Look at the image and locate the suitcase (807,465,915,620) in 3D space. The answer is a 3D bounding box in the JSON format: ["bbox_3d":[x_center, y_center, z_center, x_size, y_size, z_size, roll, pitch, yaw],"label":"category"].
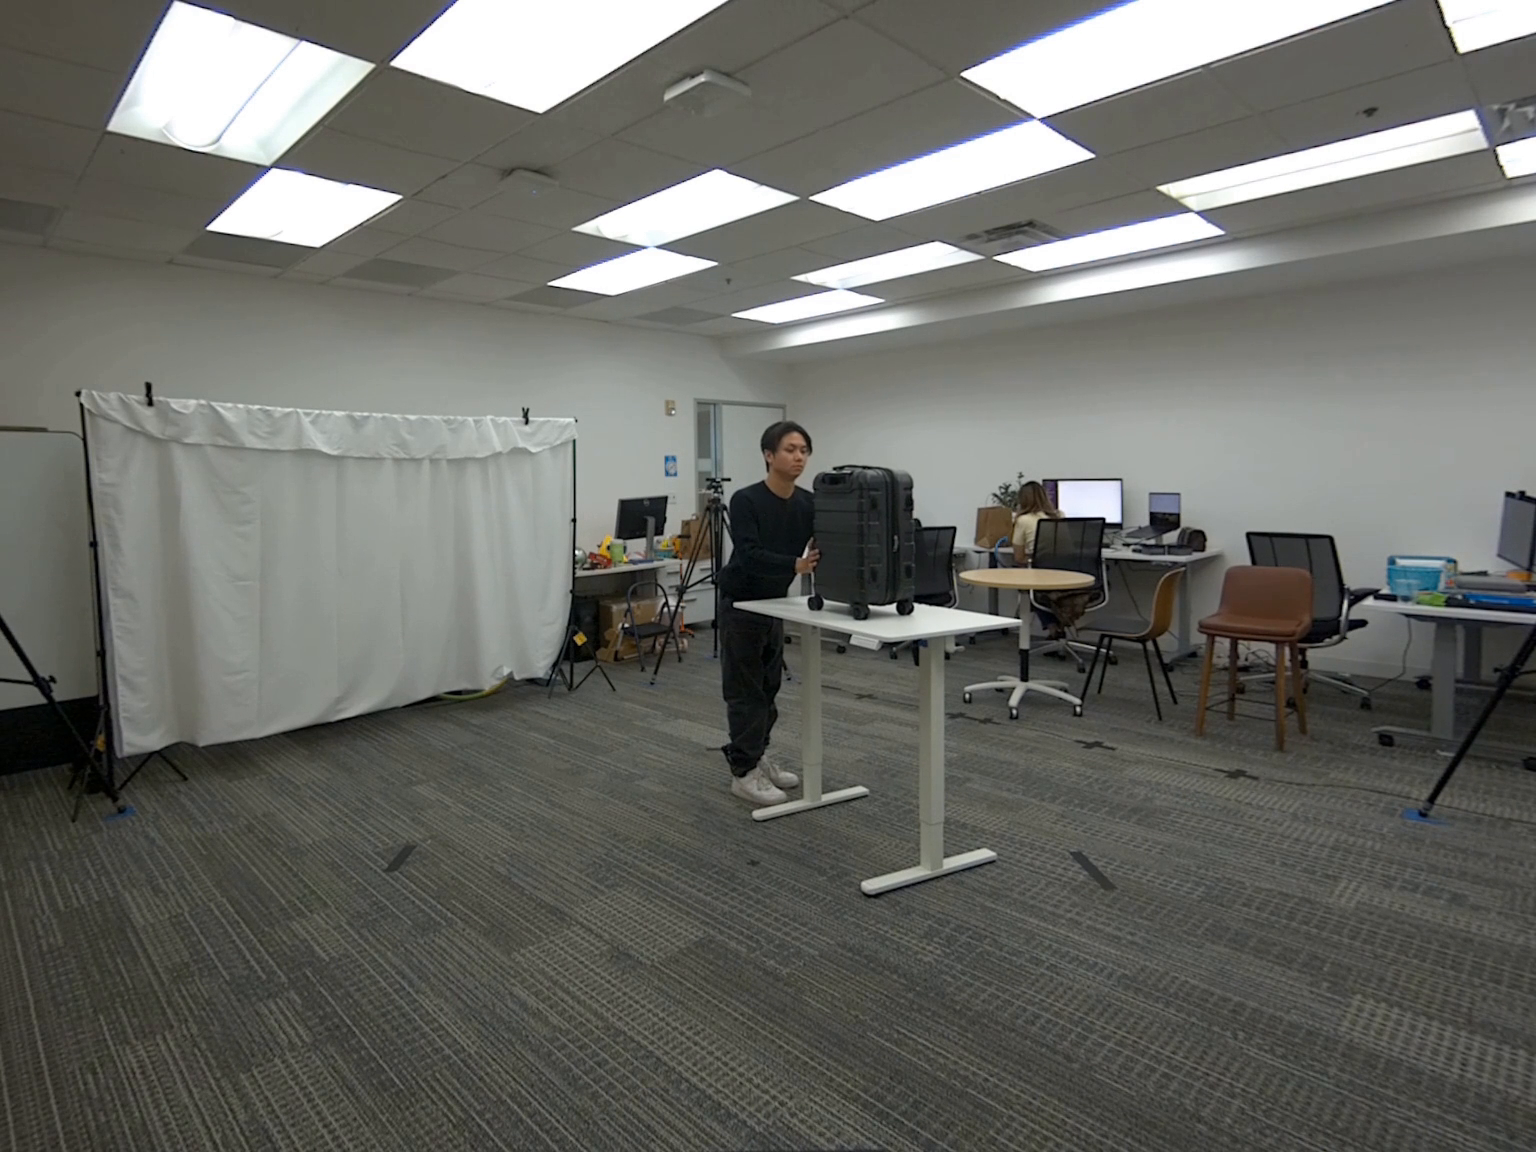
[{"bbox_3d":[0.349,-0.138,3.189,0.242,0.548,0.386,-2,4,-31],"label":"suitcase"}]
